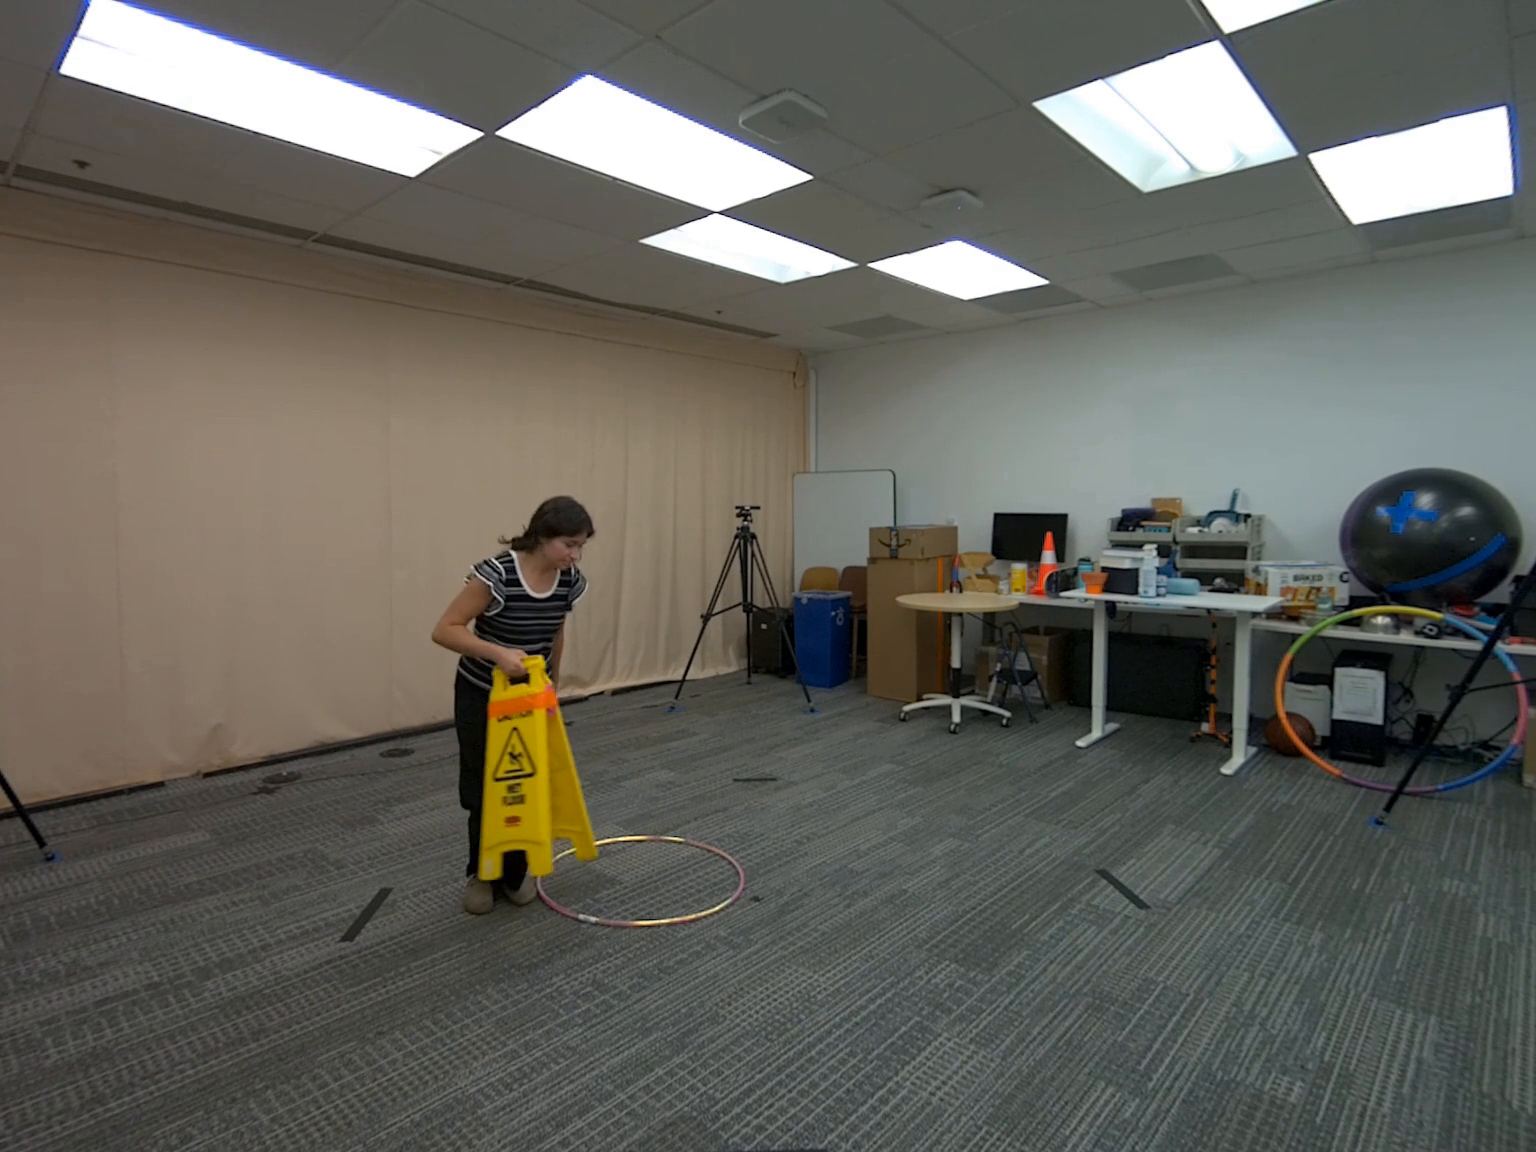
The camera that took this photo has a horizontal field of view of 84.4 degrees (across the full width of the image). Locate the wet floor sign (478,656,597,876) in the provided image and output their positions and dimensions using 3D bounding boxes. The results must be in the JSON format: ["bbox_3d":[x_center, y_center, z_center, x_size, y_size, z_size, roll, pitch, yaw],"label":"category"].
[{"bbox_3d":[-0.742,0.548,2.683,0.288,0.652,0.281,-14,-13,25],"label":"wet floor sign"}]
